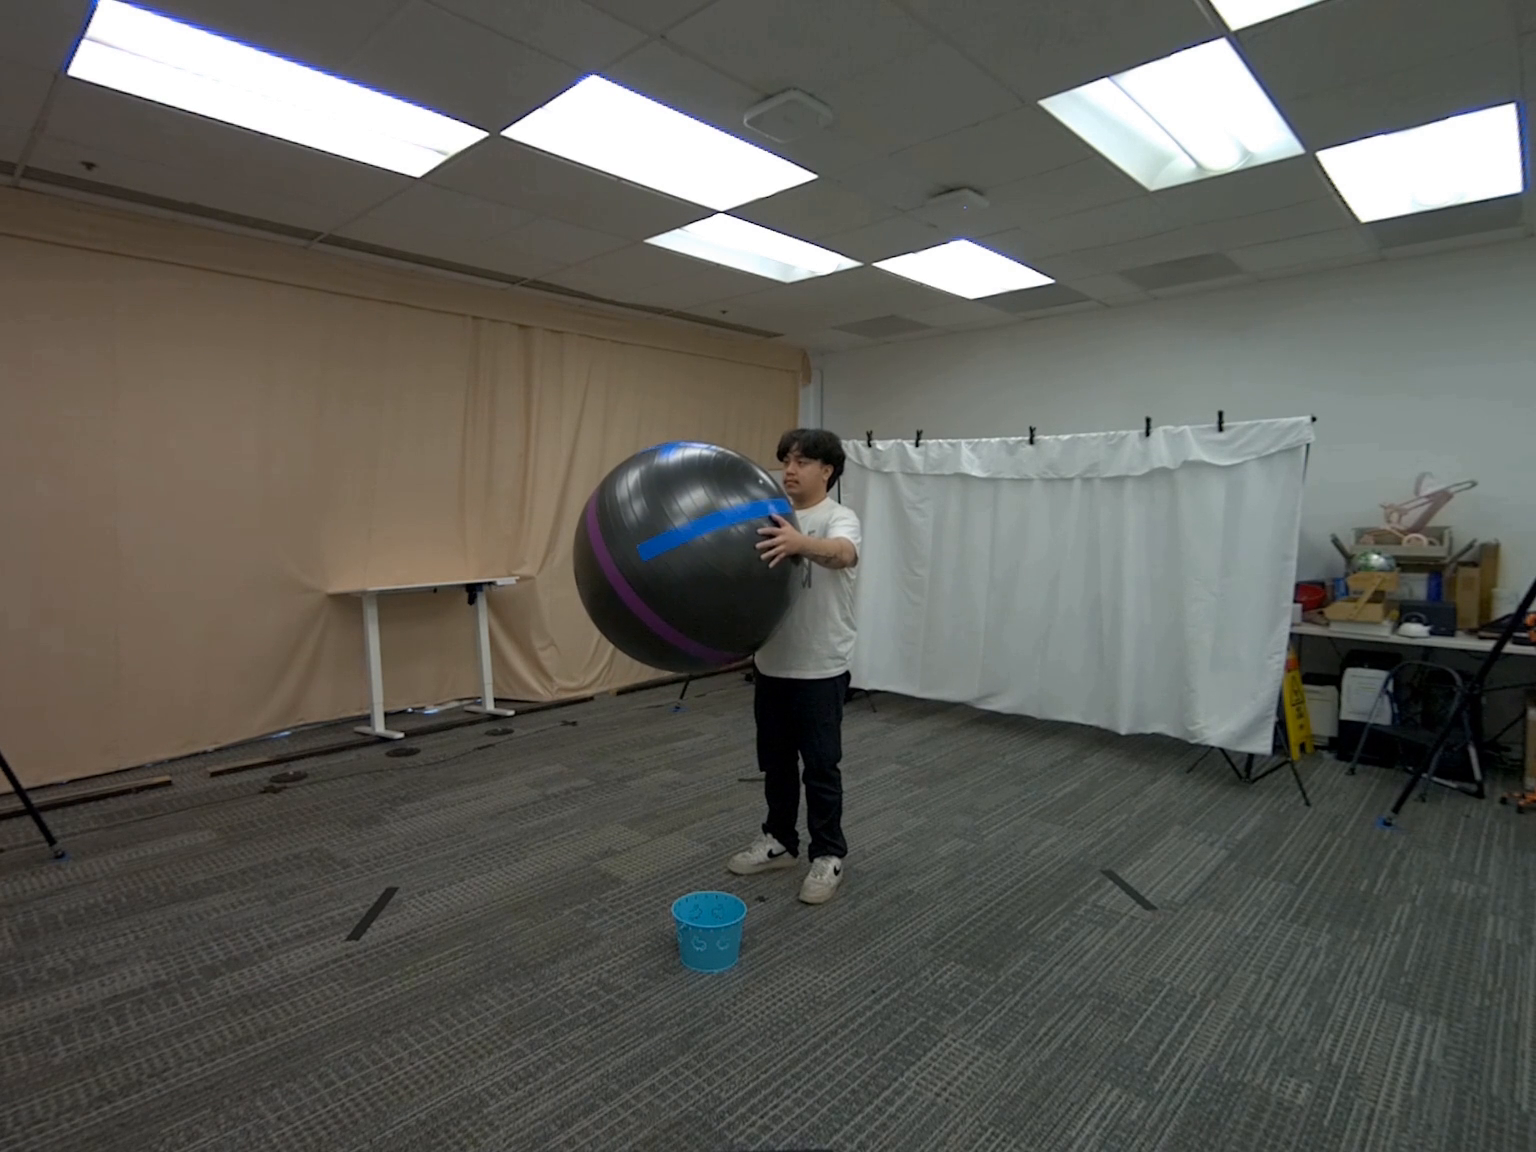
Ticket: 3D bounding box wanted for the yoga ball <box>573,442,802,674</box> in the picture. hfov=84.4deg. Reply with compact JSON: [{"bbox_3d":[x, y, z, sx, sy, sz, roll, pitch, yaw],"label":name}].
[{"bbox_3d":[-0.266,-0.056,2.780,0.757,0.756,0.760,0,4,-2],"label":"yoga ball"}]
